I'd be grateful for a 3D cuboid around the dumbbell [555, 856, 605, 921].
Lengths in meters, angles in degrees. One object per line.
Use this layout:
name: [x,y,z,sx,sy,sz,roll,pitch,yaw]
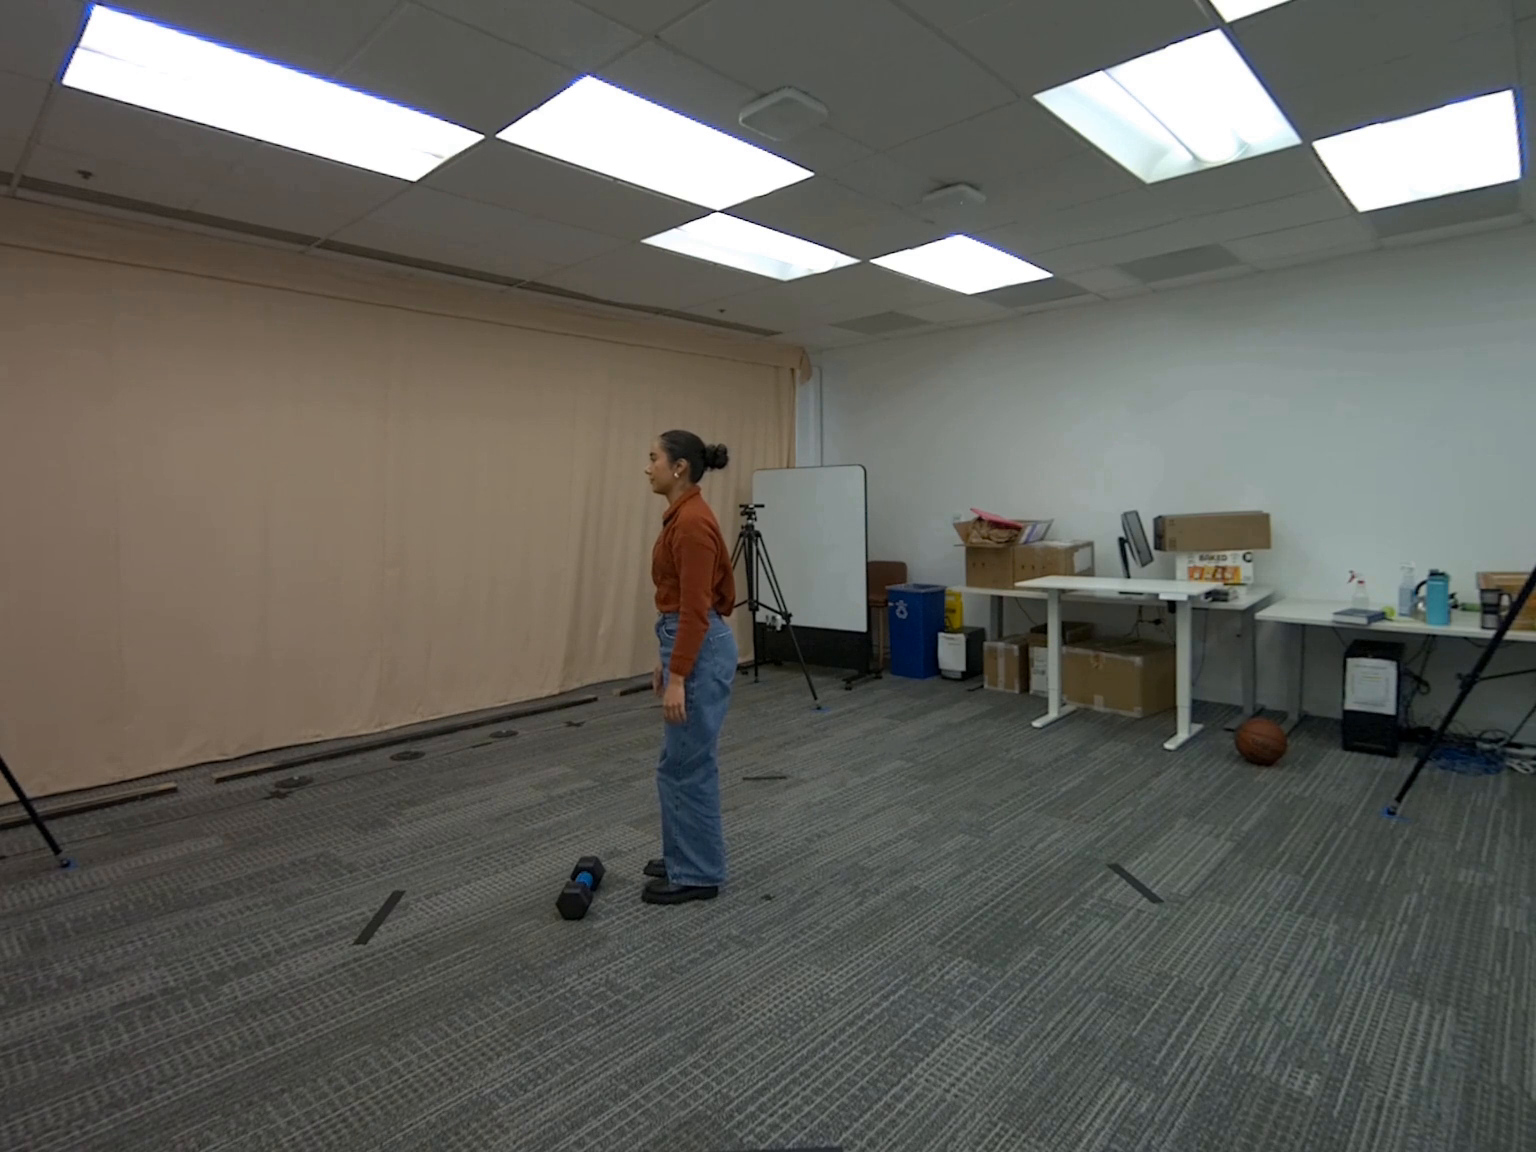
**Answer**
dumbbell: [-0.658,1.105,2.985,0.109,0.123,0.293,29,4,-2]
